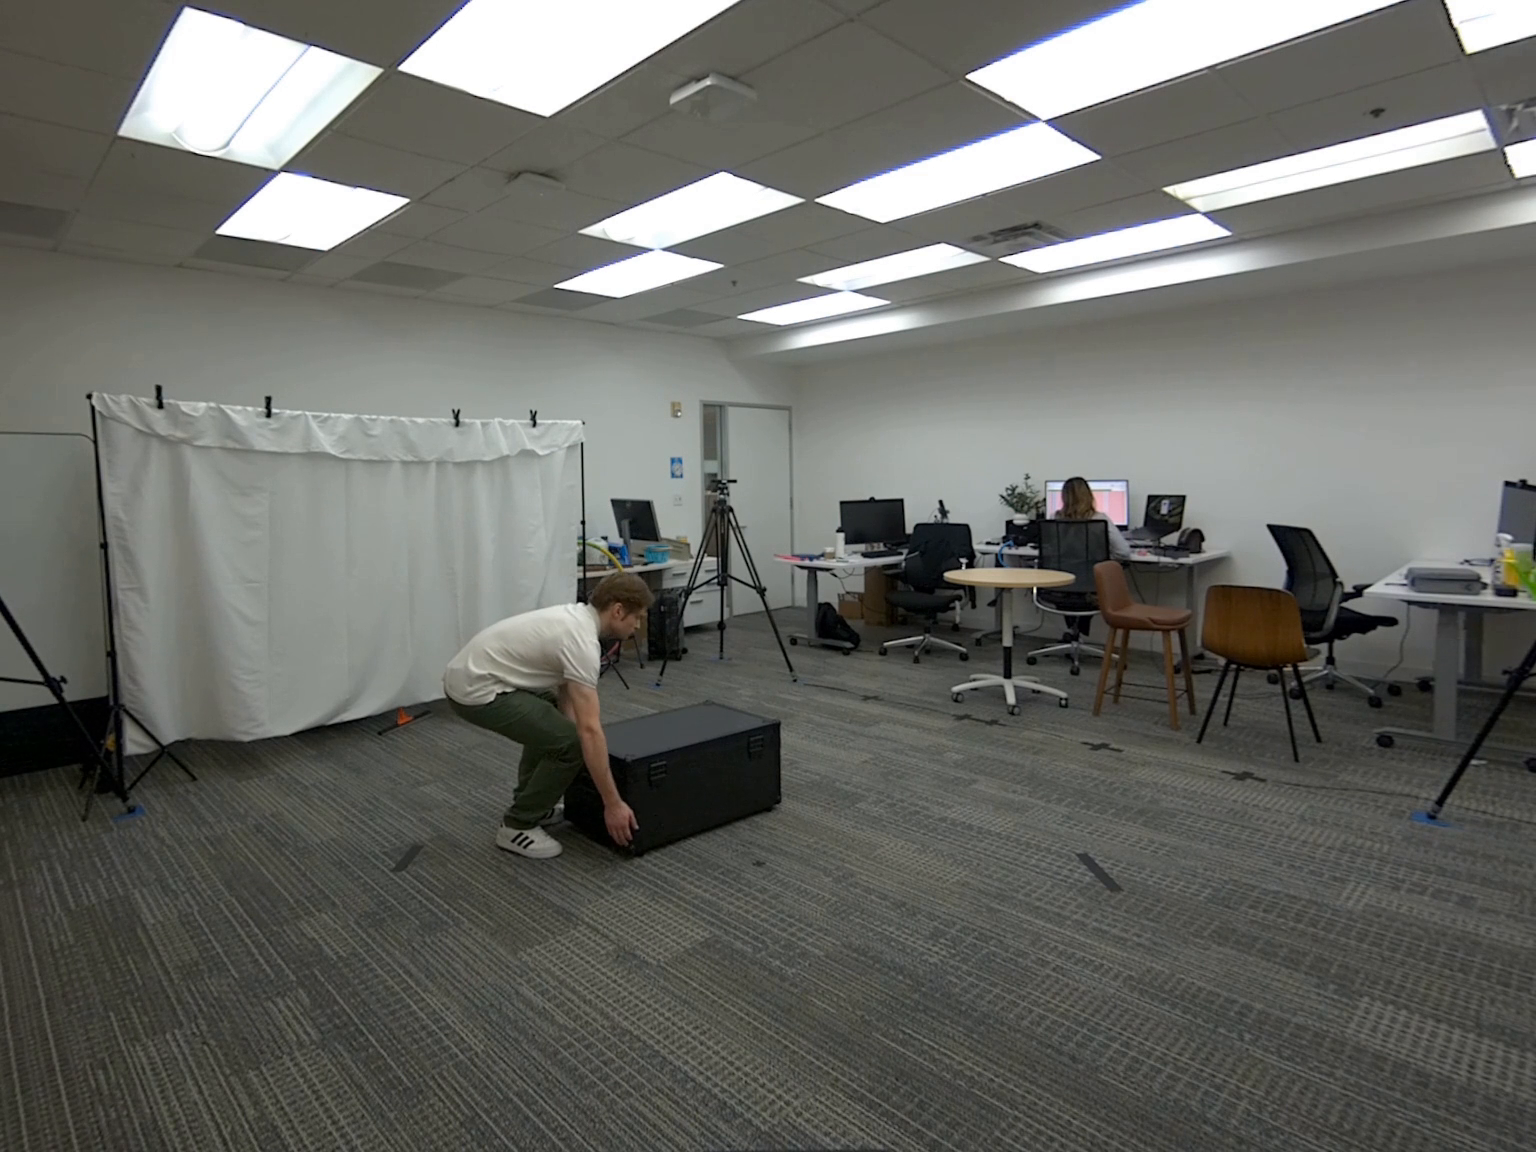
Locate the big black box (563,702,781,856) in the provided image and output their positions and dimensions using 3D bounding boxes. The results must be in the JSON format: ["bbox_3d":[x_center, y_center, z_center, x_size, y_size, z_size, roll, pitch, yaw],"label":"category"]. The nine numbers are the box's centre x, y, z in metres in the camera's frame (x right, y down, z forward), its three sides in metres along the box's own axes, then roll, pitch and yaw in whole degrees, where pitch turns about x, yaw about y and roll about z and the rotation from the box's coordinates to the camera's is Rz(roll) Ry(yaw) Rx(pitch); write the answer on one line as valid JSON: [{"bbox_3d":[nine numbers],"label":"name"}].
[{"bbox_3d":[-0.360,0.811,3.581,0.839,0.394,0.537,-8,8,-42],"label":"big black box"}]
